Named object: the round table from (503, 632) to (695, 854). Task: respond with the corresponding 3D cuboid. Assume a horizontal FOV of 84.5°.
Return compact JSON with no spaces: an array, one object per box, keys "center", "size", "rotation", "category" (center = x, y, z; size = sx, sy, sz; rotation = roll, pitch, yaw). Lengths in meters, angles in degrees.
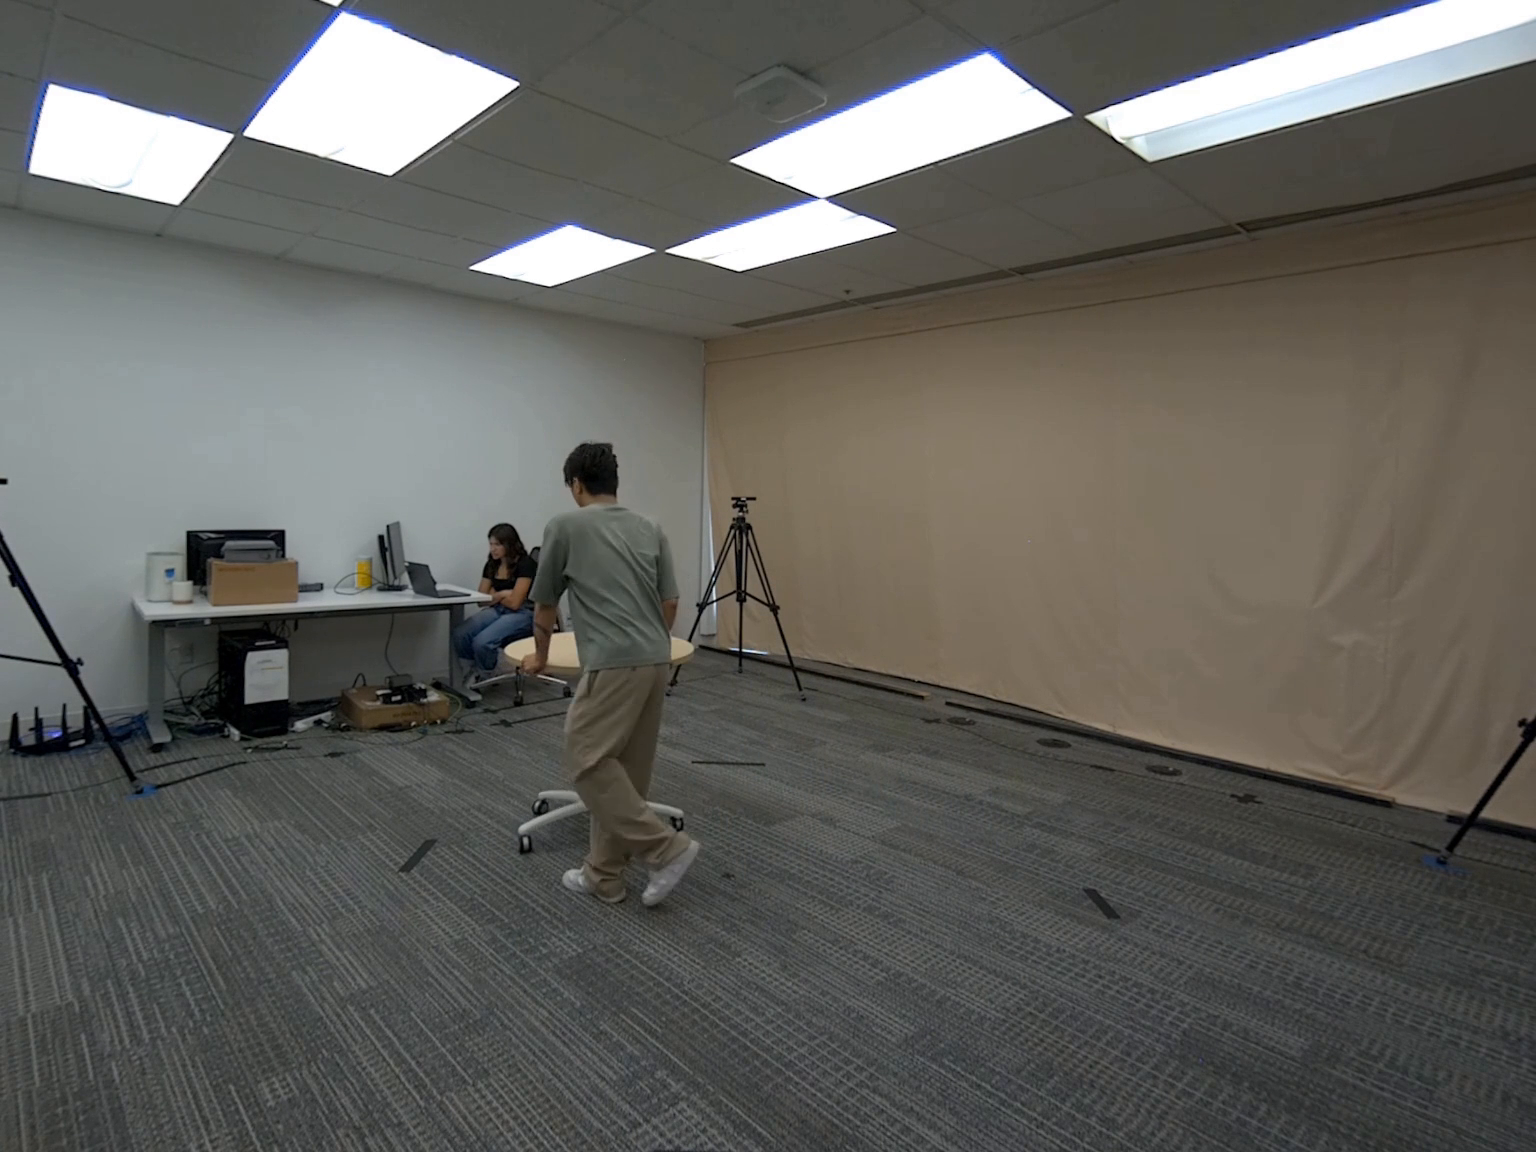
[{"center":[-0.692,0.676,3.484],"size":[0.784,0.784,0.788],"rotation":[1,5,-1],"category":"round table"}]
